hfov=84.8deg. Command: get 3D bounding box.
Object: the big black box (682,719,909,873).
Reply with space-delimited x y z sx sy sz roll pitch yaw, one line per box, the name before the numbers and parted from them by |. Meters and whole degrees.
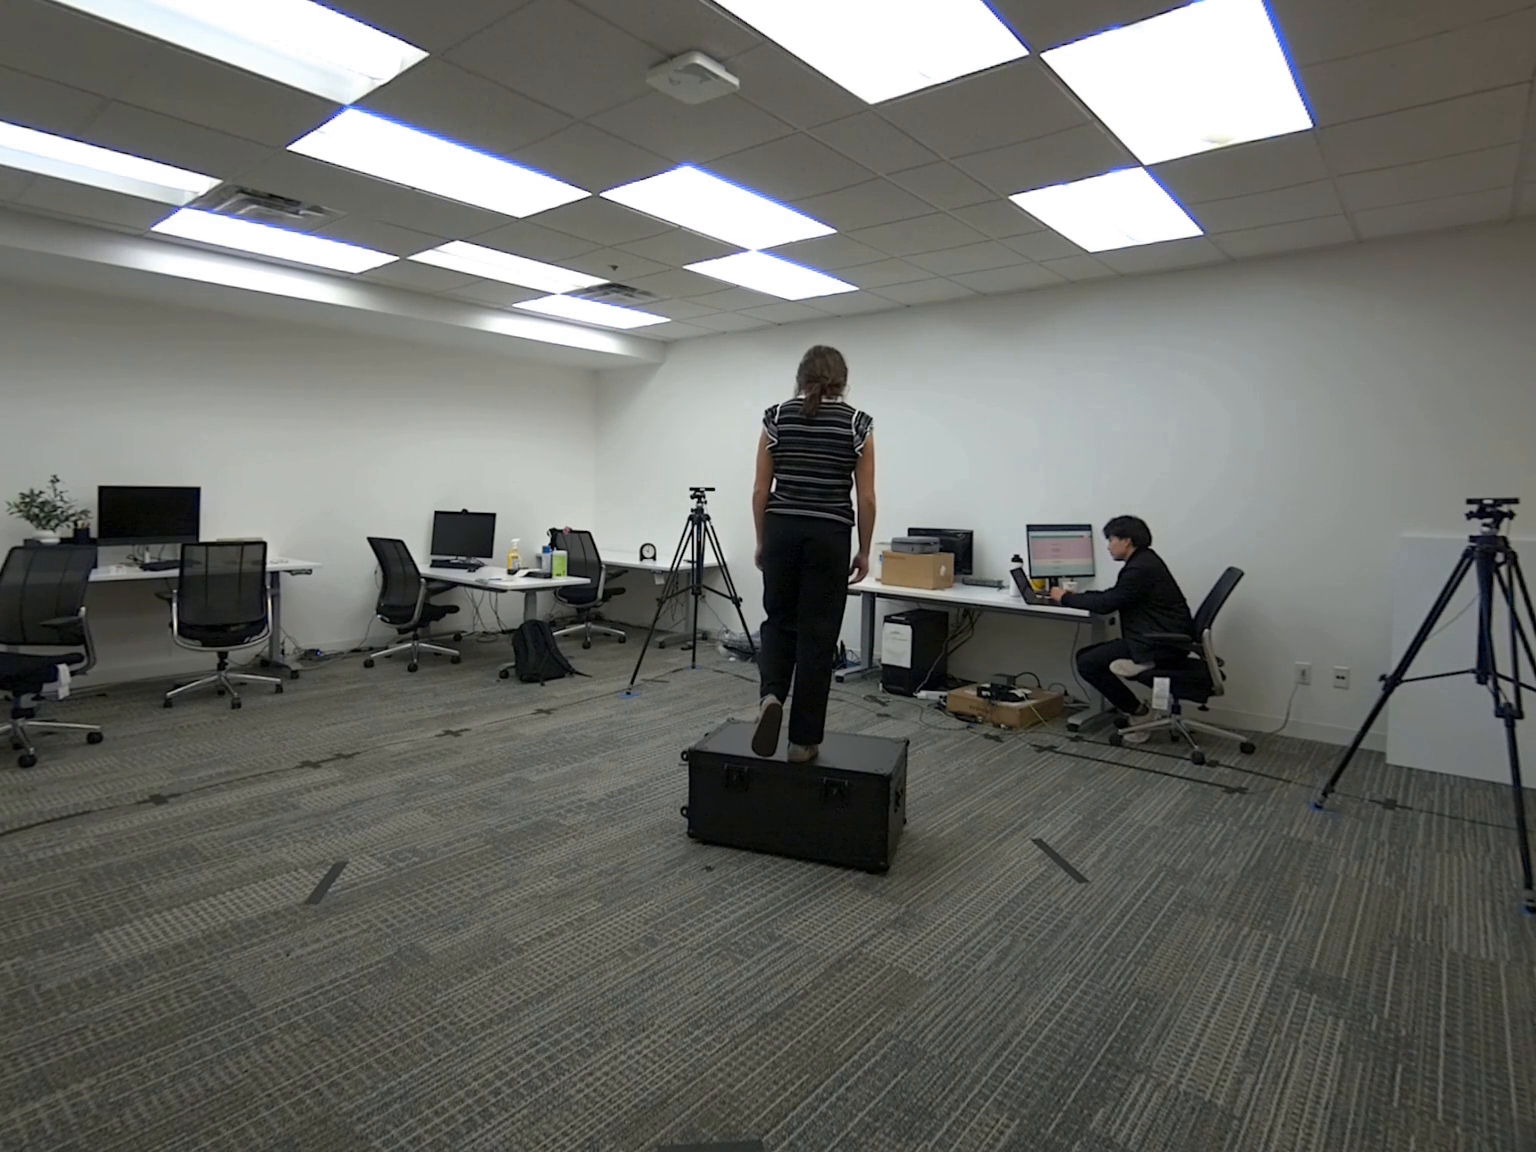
big black box | 0.089 0.849 3.426 0.880 0.394 0.513 3 6 19
